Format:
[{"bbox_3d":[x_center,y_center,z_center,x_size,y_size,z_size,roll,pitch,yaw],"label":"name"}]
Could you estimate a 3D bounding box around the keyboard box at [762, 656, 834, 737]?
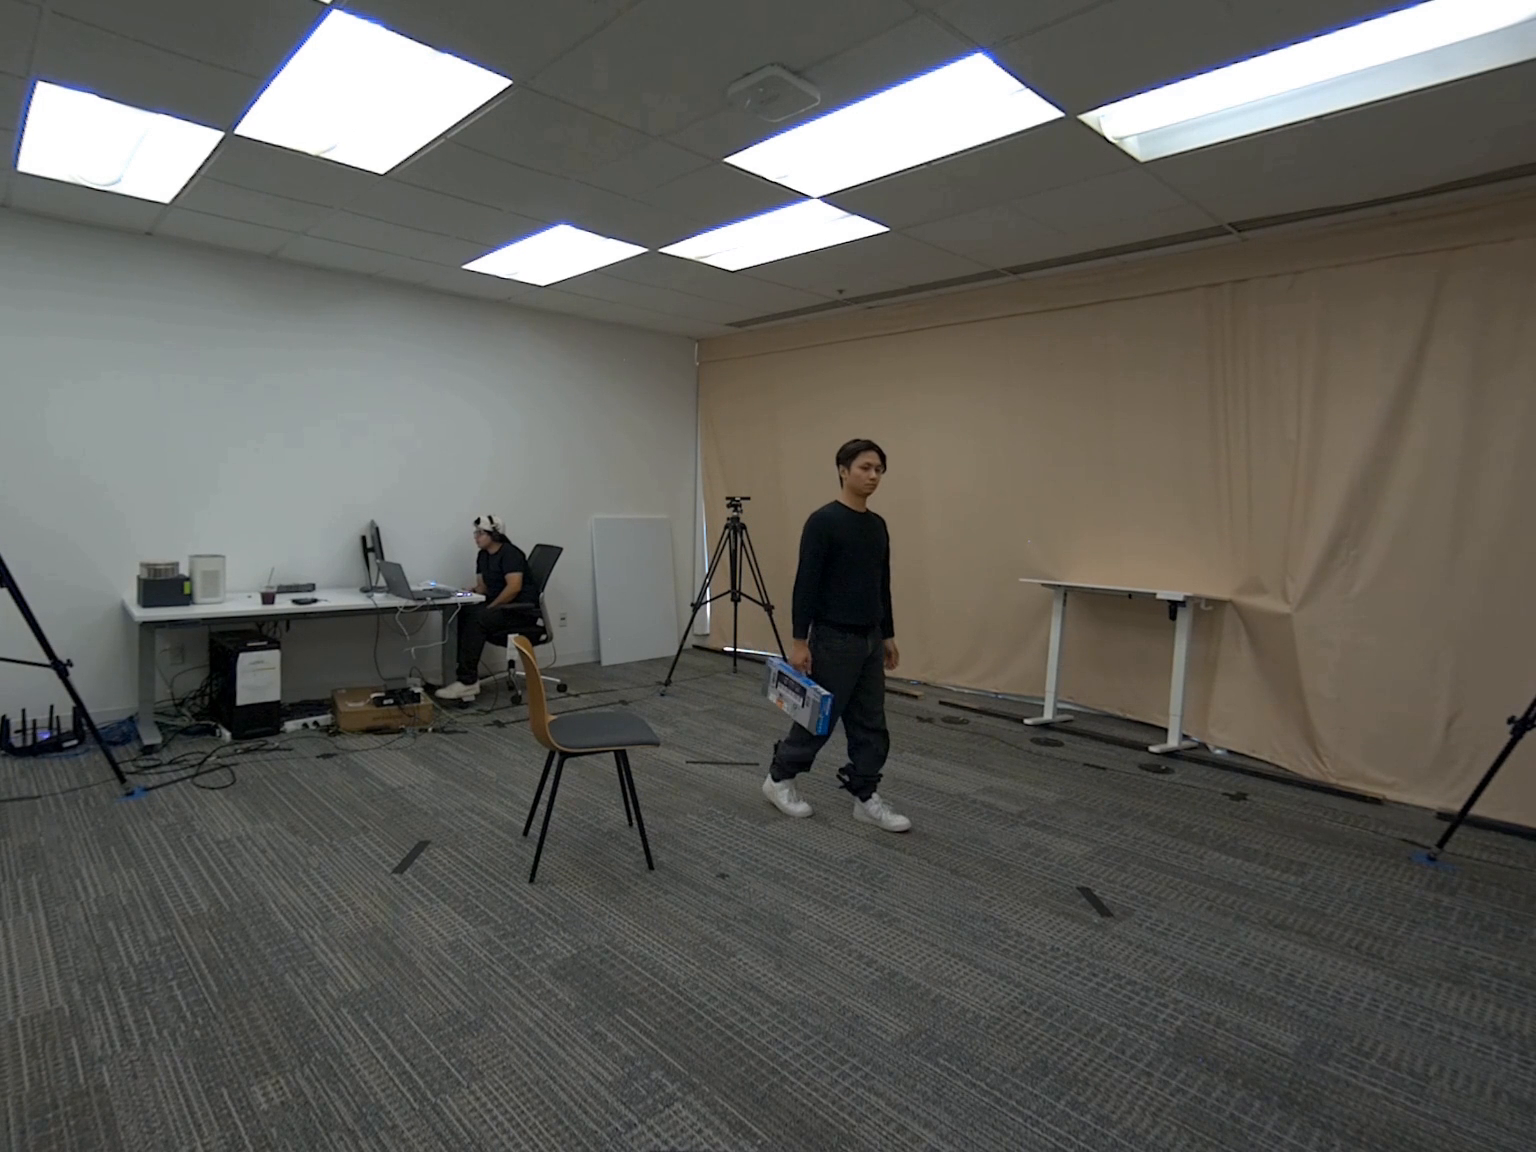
[{"bbox_3d":[0.110,0.503,3.552,0.058,0.175,0.449,3,13,-30],"label":"keyboard box"}]
